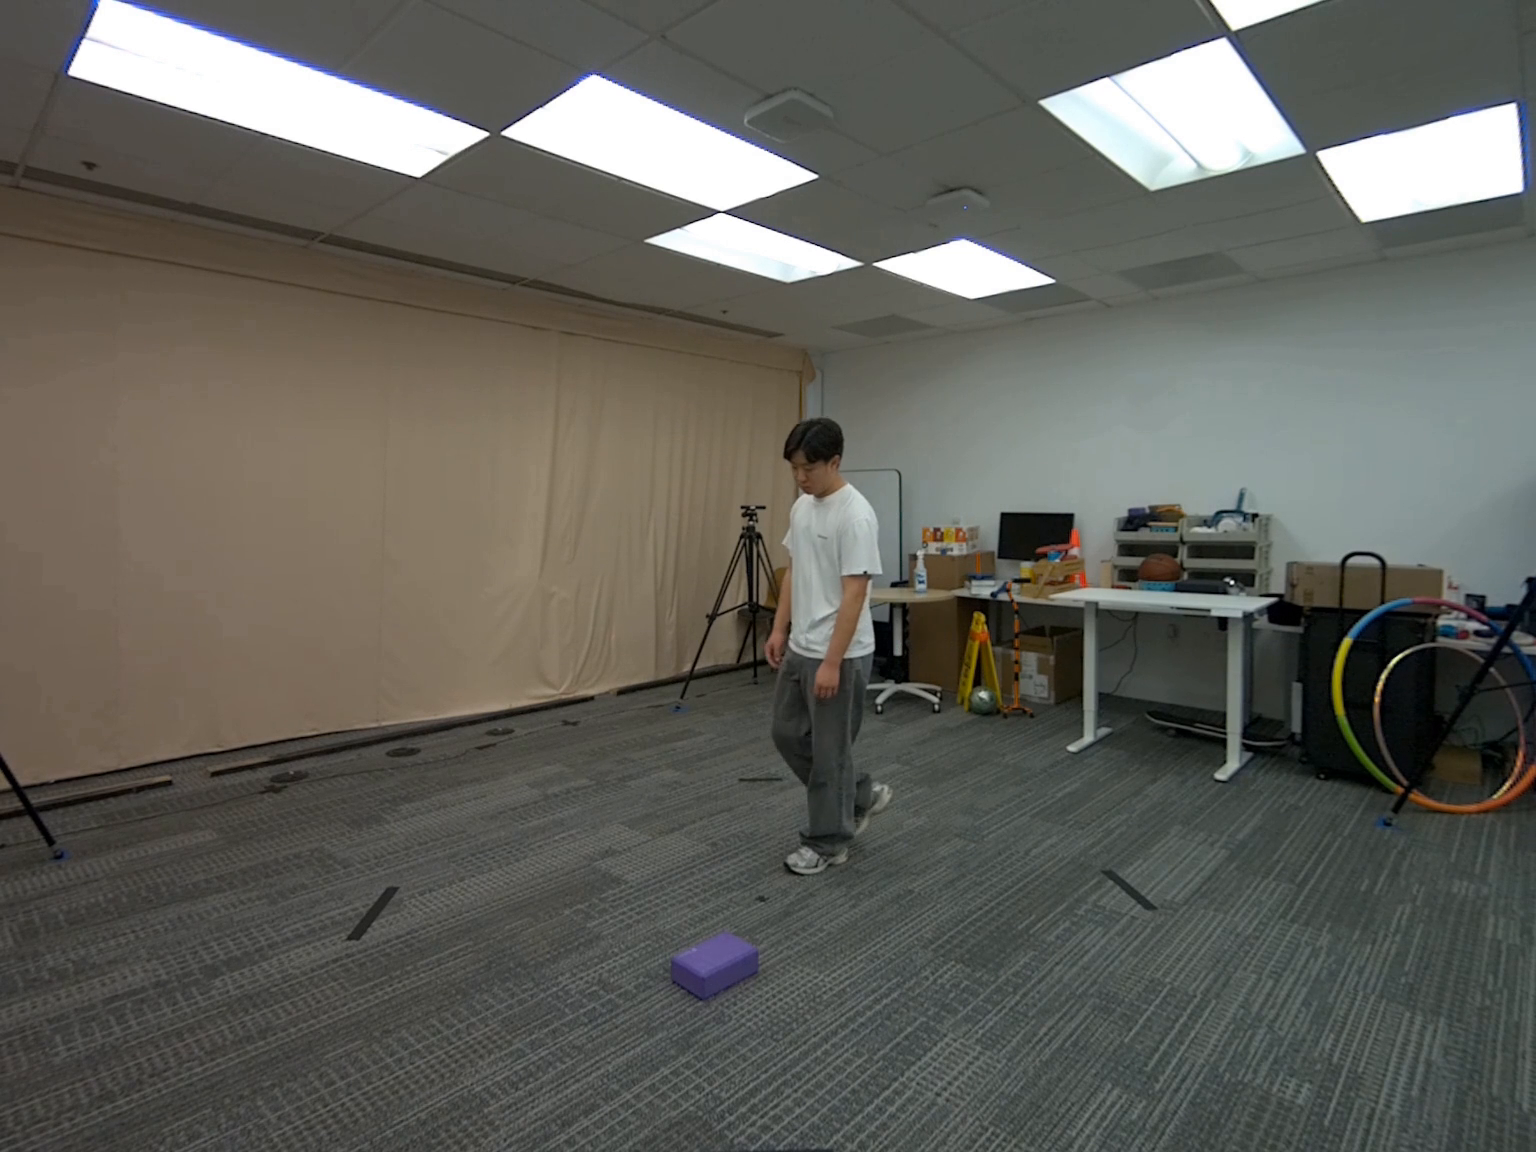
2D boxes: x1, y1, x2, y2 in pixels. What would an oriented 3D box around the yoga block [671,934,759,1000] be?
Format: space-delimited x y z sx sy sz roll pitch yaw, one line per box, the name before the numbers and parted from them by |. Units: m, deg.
yoga block | -0.149 1.150 2.485 0.222 0.076 0.154 -5 6 -44
